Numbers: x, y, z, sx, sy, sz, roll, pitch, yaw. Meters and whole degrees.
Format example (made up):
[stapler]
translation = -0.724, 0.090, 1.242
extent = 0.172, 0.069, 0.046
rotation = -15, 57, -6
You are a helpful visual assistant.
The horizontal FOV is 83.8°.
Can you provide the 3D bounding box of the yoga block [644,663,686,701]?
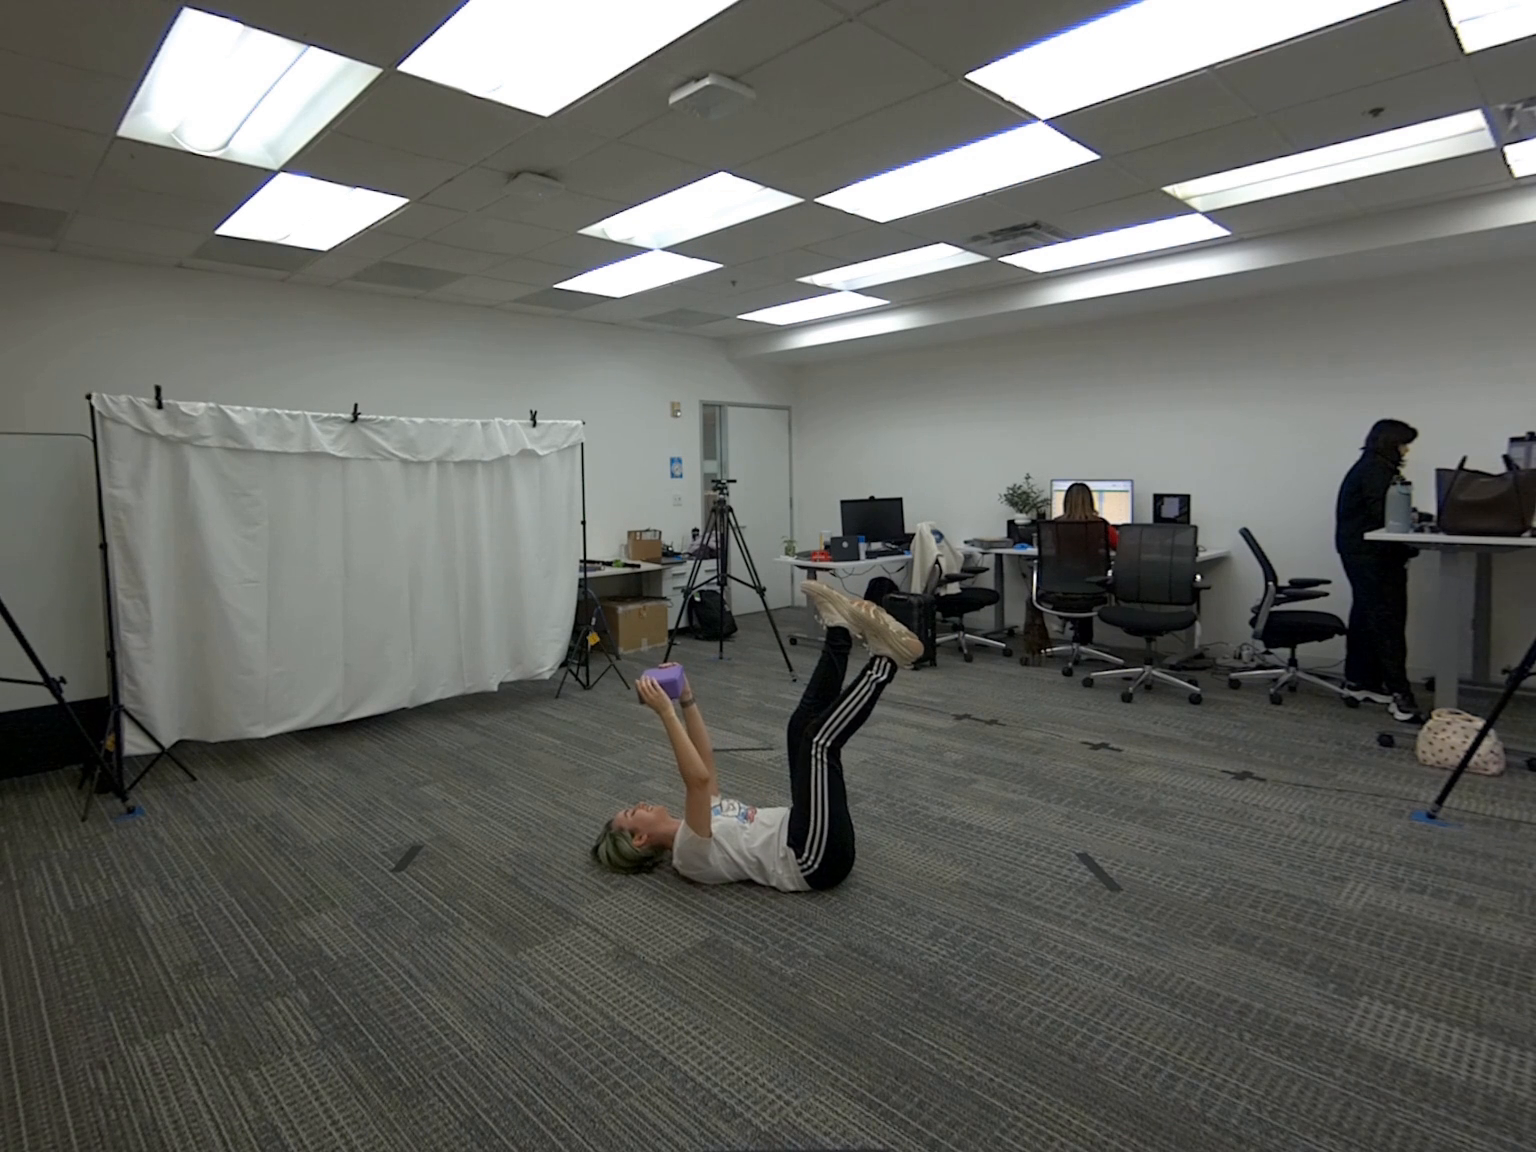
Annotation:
[yoga block]
translation = -0.381, 0.383, 3.079
extent = 0.150, 0.076, 0.228
rotation = -9, 5, 8
